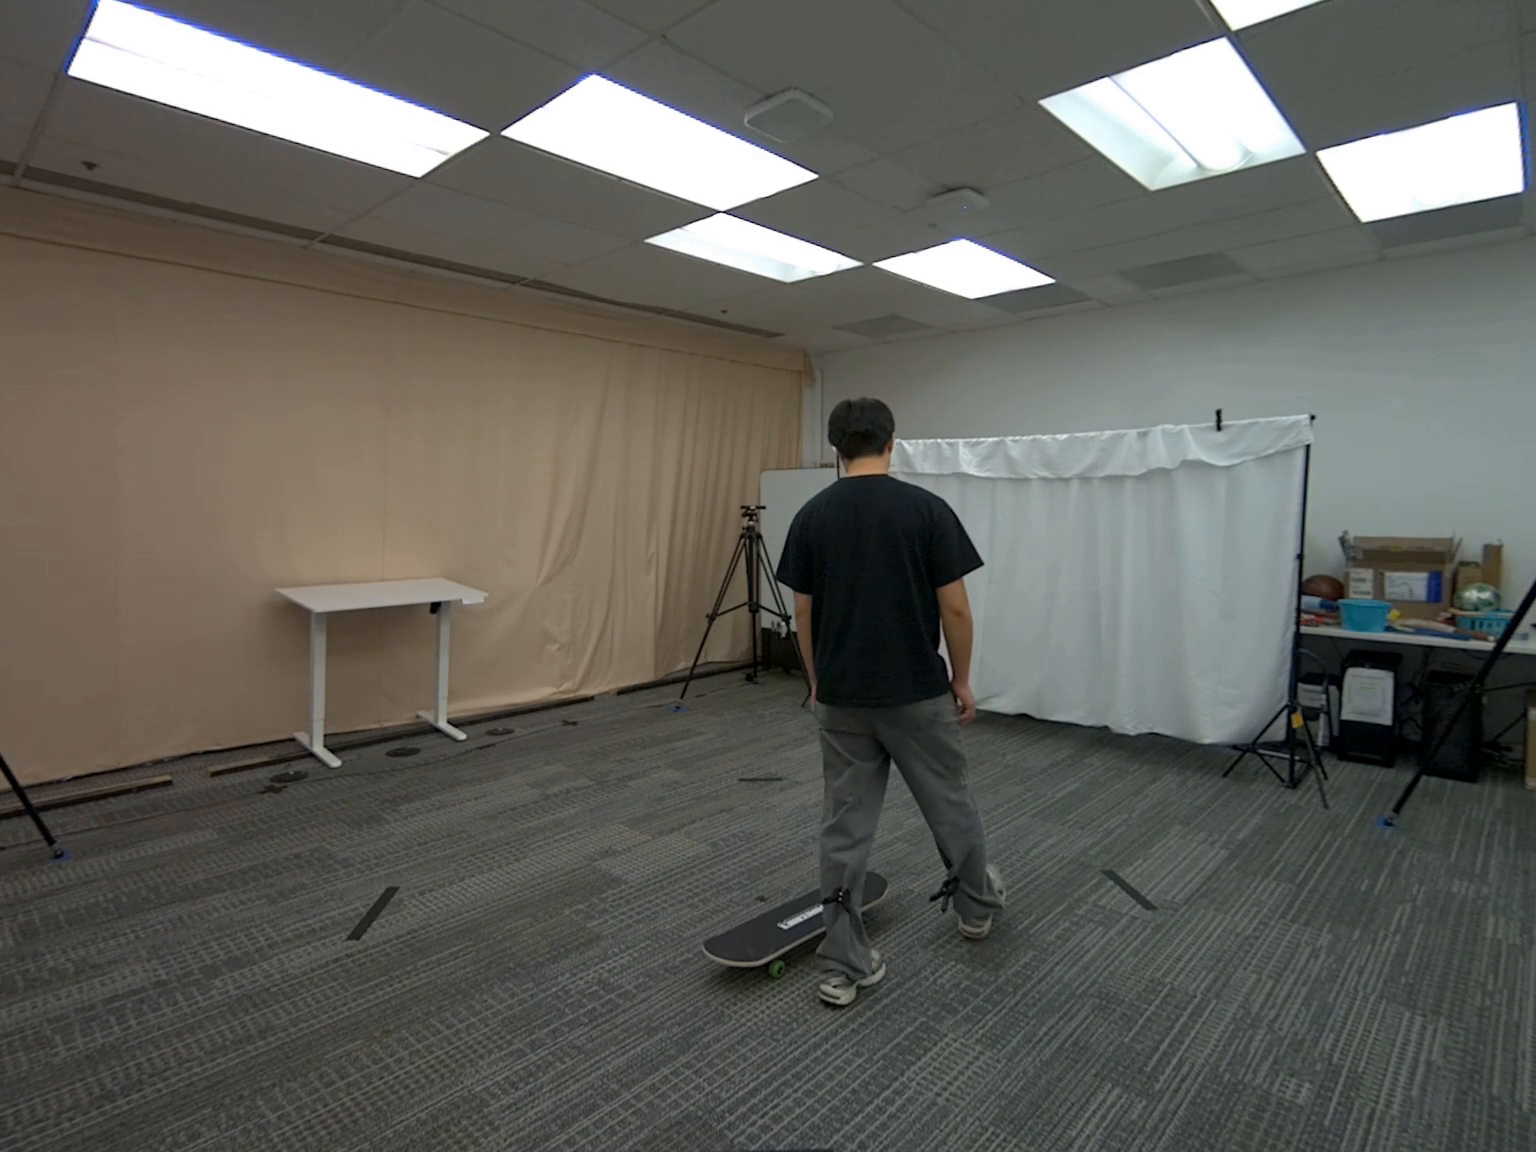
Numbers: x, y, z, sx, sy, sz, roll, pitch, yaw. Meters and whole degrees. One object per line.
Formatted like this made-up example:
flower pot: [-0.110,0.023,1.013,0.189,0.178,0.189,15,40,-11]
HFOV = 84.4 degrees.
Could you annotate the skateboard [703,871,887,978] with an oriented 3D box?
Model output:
skateboard: [0.112,1.118,2.669,0.761,0.110,0.200,-4,6,-44]
